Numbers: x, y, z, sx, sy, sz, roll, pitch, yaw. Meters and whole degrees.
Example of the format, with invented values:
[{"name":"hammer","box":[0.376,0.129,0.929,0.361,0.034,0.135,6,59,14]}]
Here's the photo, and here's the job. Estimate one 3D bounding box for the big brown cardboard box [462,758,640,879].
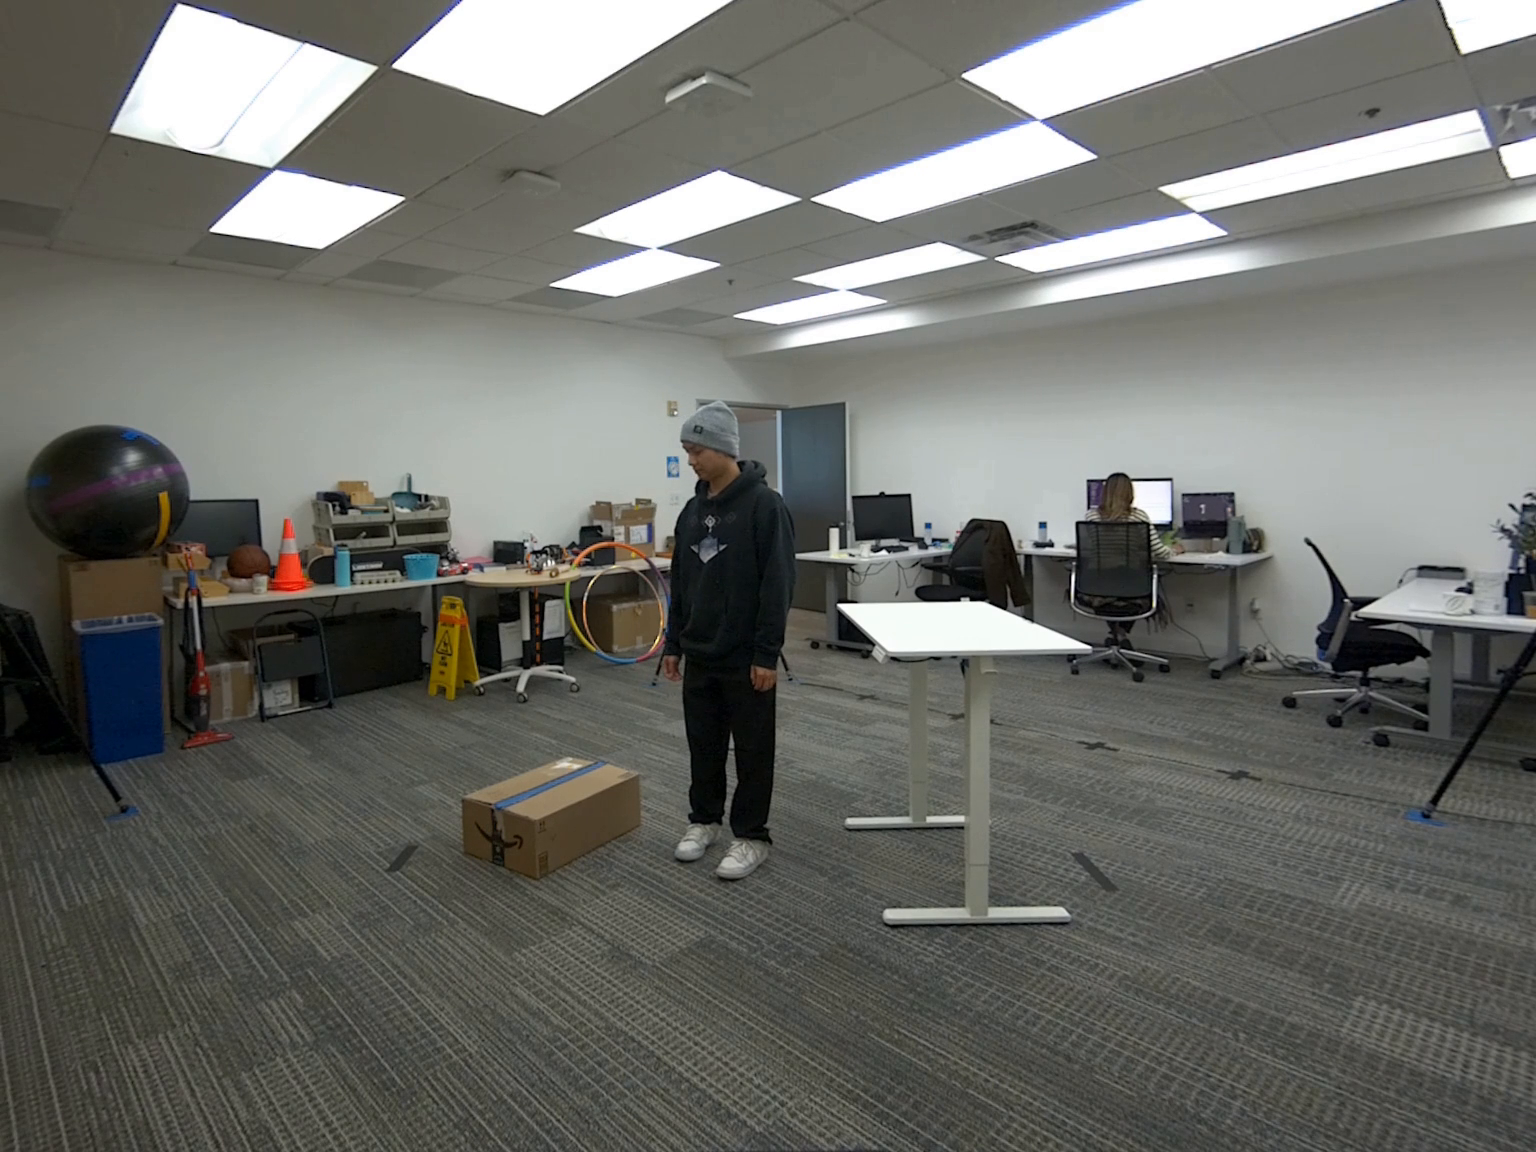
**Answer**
[{"name":"big brown cardboard box","box":[-0.833,0.920,3.353,0.429,0.232,0.576,2,7,33]}]
